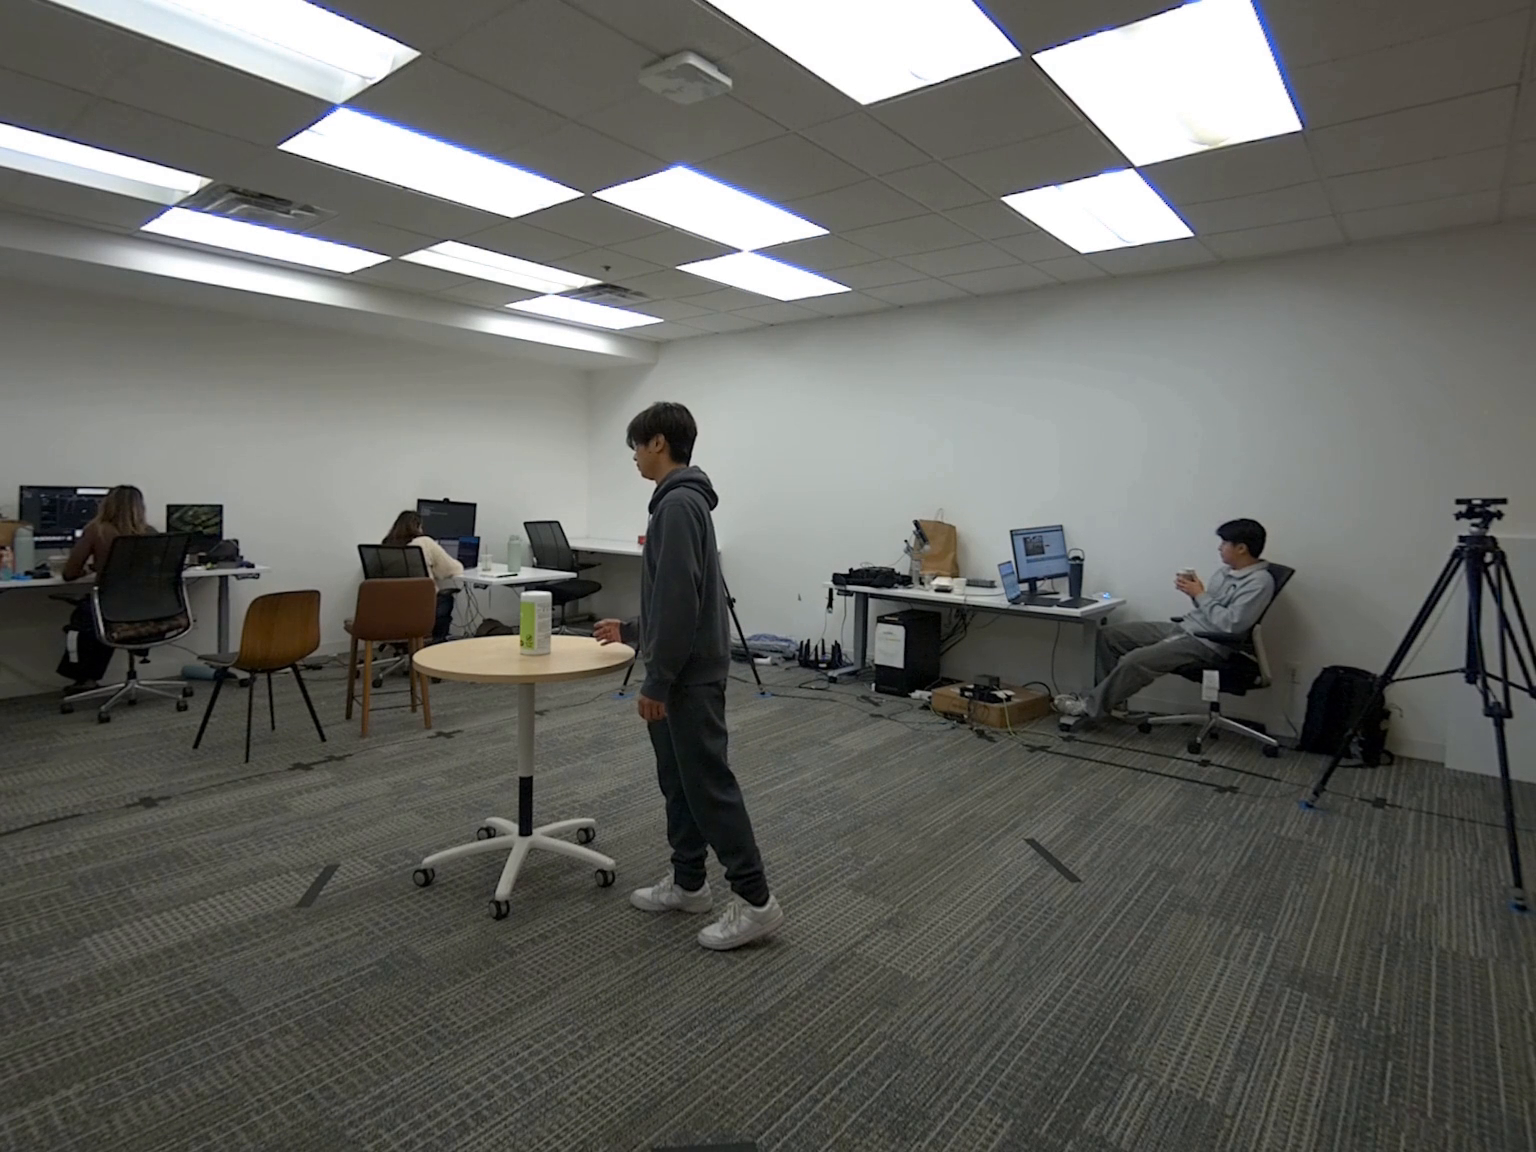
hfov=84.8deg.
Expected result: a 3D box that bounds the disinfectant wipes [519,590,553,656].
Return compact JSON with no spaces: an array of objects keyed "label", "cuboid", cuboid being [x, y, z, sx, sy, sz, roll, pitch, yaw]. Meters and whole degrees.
[{"label":"disinfectant wipes","cuboid":[-0.836,0.165,3.023,0.118,0.217,0.118,1,2,-2]}]
